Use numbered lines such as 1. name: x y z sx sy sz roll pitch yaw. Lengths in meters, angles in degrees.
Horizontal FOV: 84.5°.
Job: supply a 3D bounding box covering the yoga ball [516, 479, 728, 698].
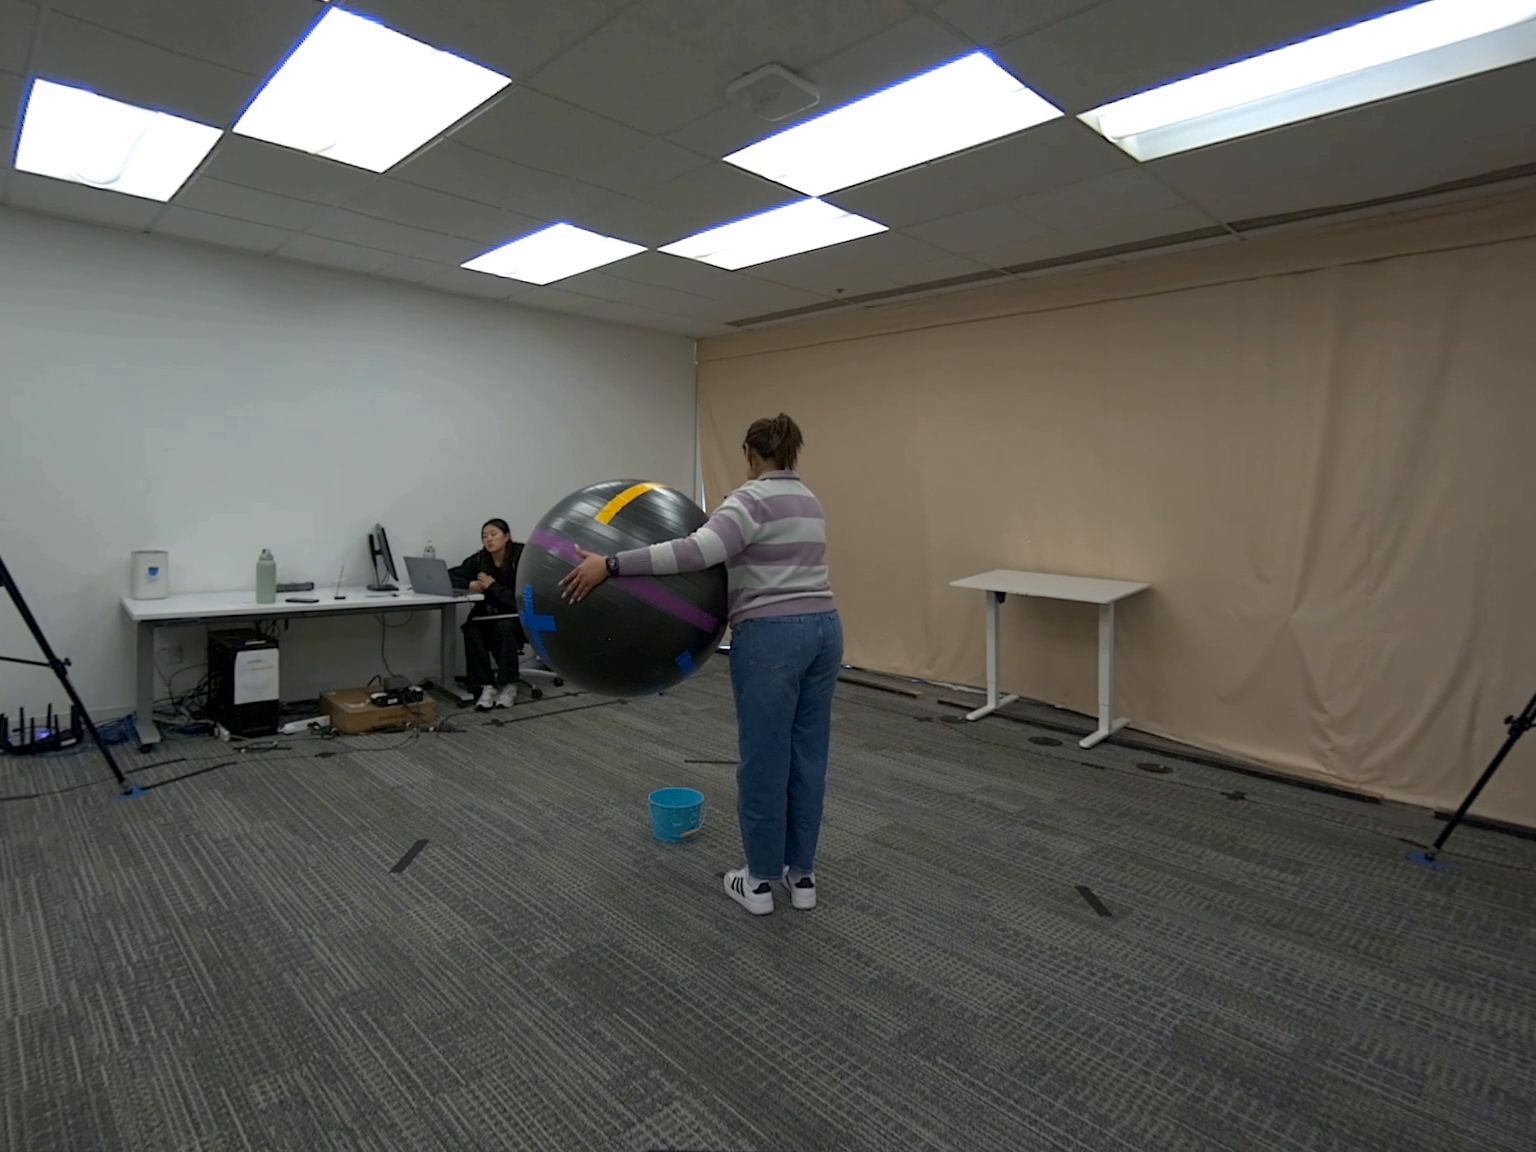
1. yoga ball: -0.496 0.049 2.950 0.757 0.756 0.761 1 4 -1
